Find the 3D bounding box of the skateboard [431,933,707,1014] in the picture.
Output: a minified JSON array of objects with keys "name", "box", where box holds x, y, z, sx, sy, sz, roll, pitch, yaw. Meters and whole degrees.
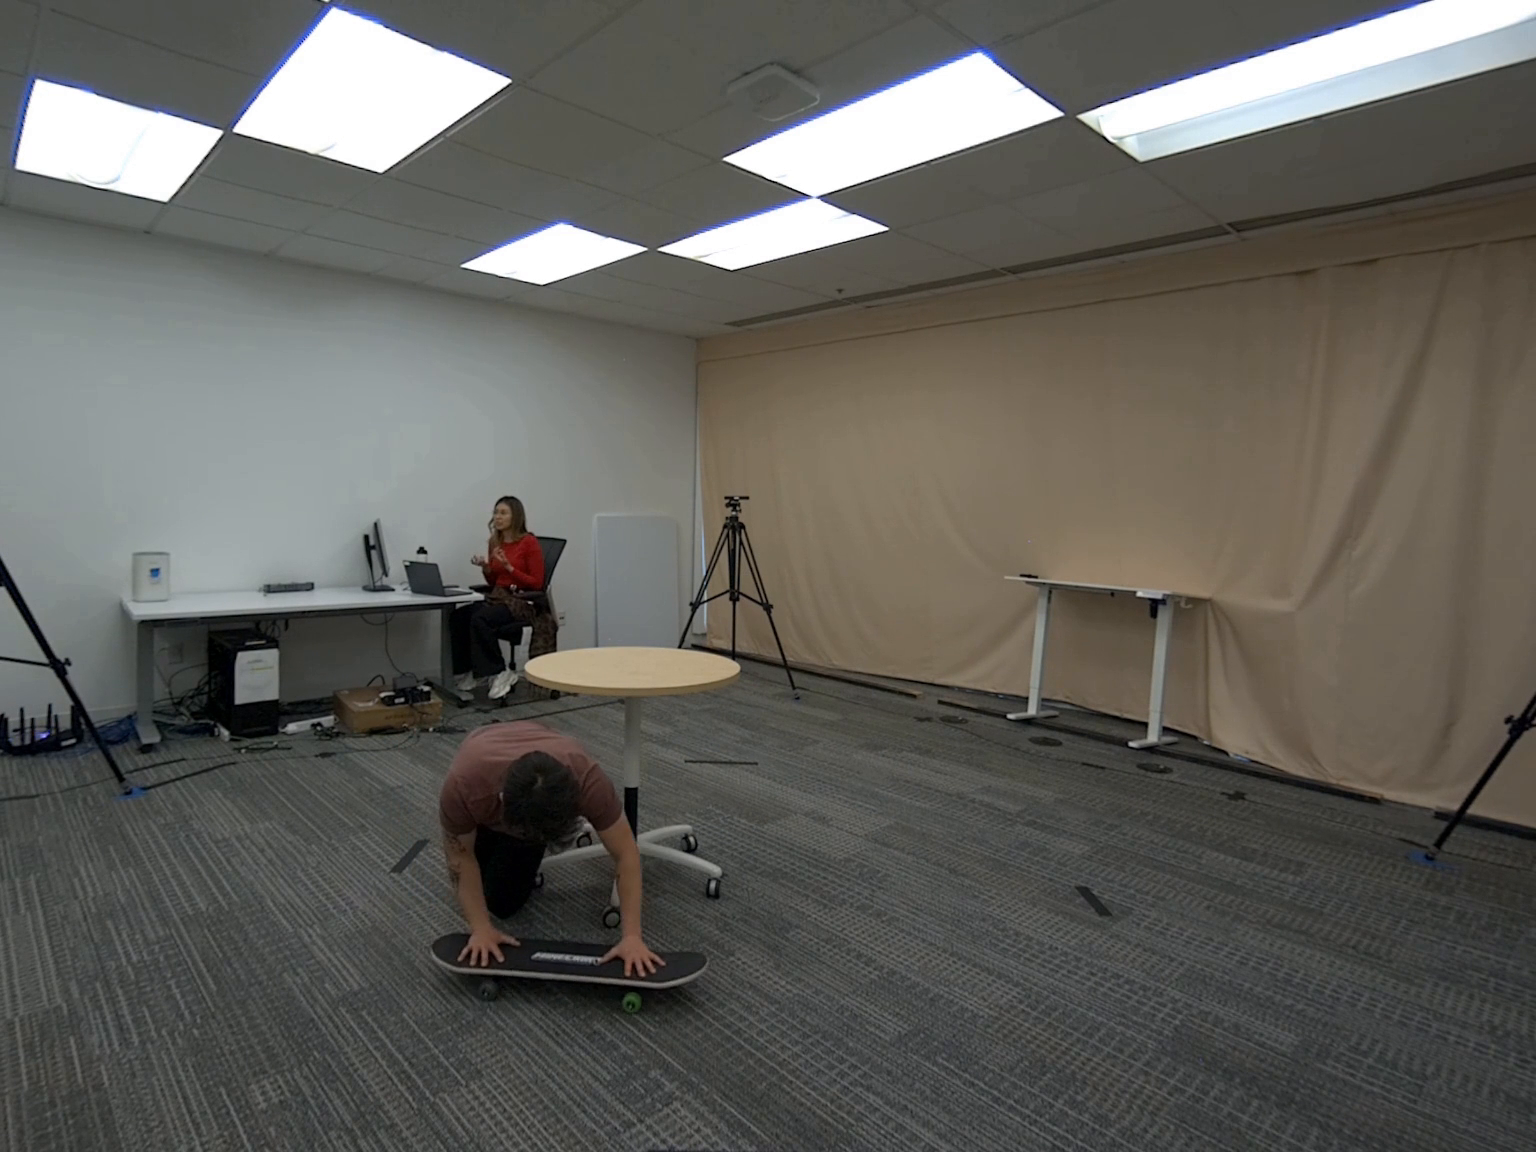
[{"name":"skateboard","box":[-0.560,1.108,2.353,0.789,0.110,0.193,1,4,5]}]
